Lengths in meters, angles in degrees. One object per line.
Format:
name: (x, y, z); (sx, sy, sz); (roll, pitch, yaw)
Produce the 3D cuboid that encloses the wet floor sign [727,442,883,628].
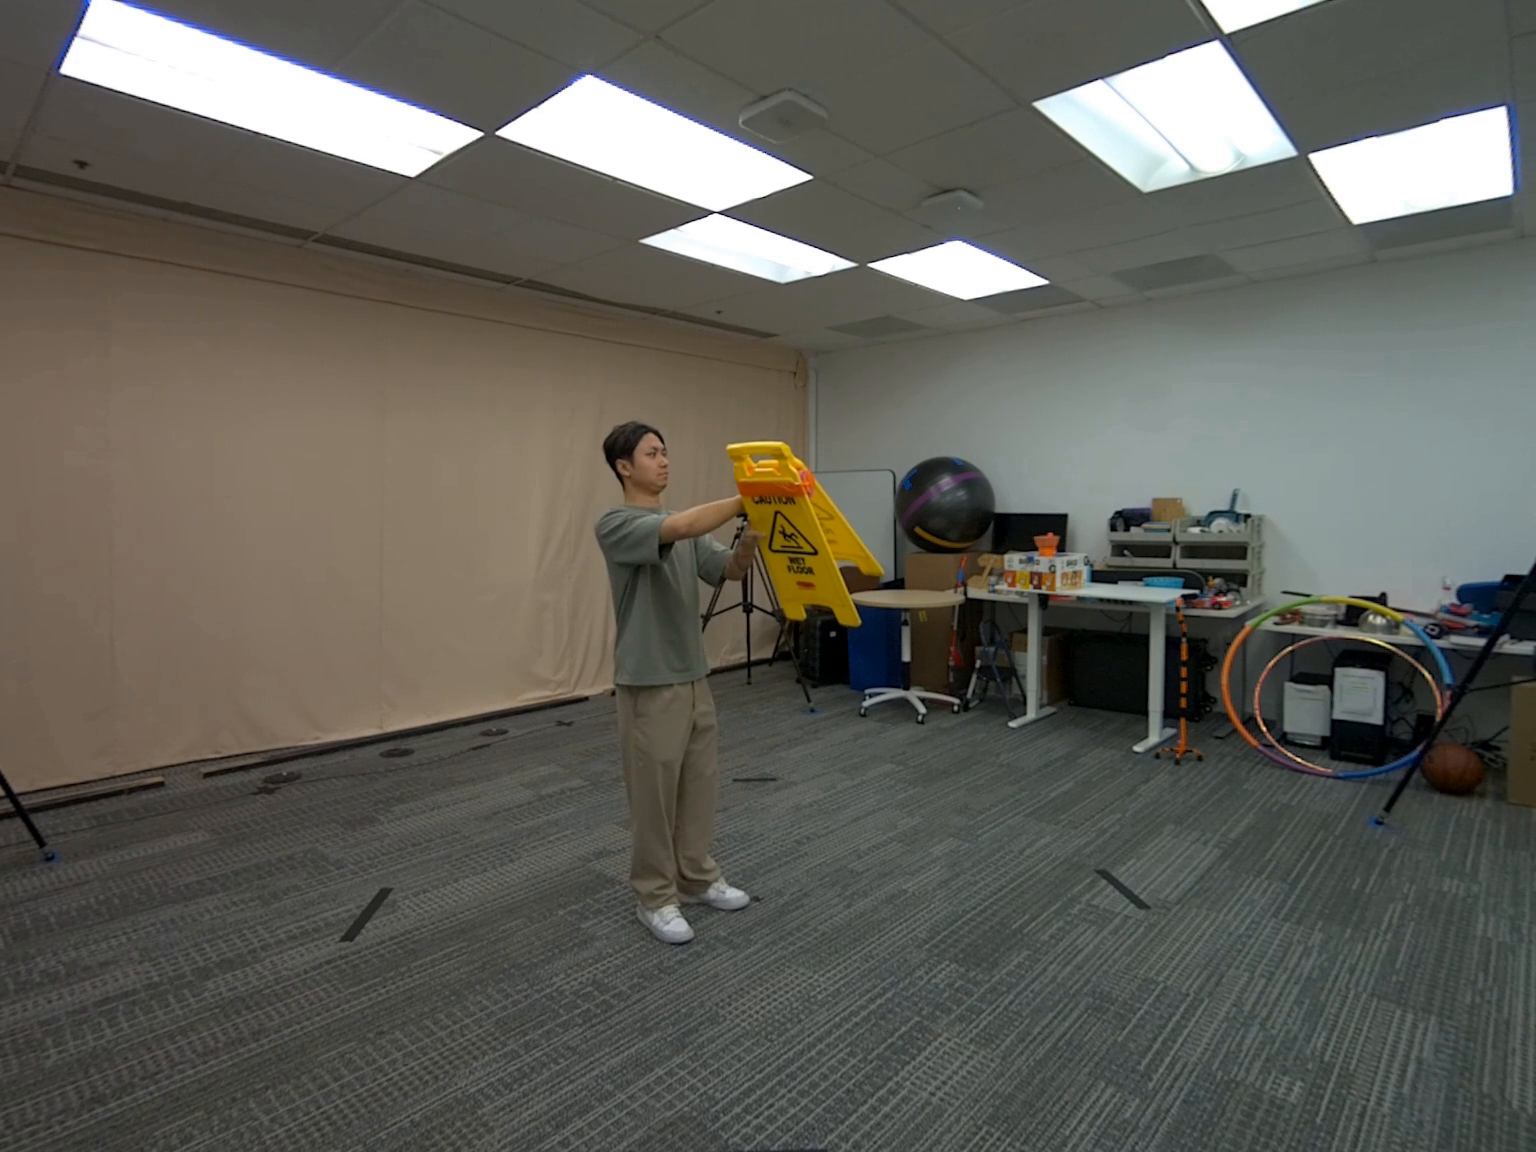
wet floor sign: (0.097, -0.151, 2.542); (0.291, 0.626, 0.289); (2, 47, 37)
